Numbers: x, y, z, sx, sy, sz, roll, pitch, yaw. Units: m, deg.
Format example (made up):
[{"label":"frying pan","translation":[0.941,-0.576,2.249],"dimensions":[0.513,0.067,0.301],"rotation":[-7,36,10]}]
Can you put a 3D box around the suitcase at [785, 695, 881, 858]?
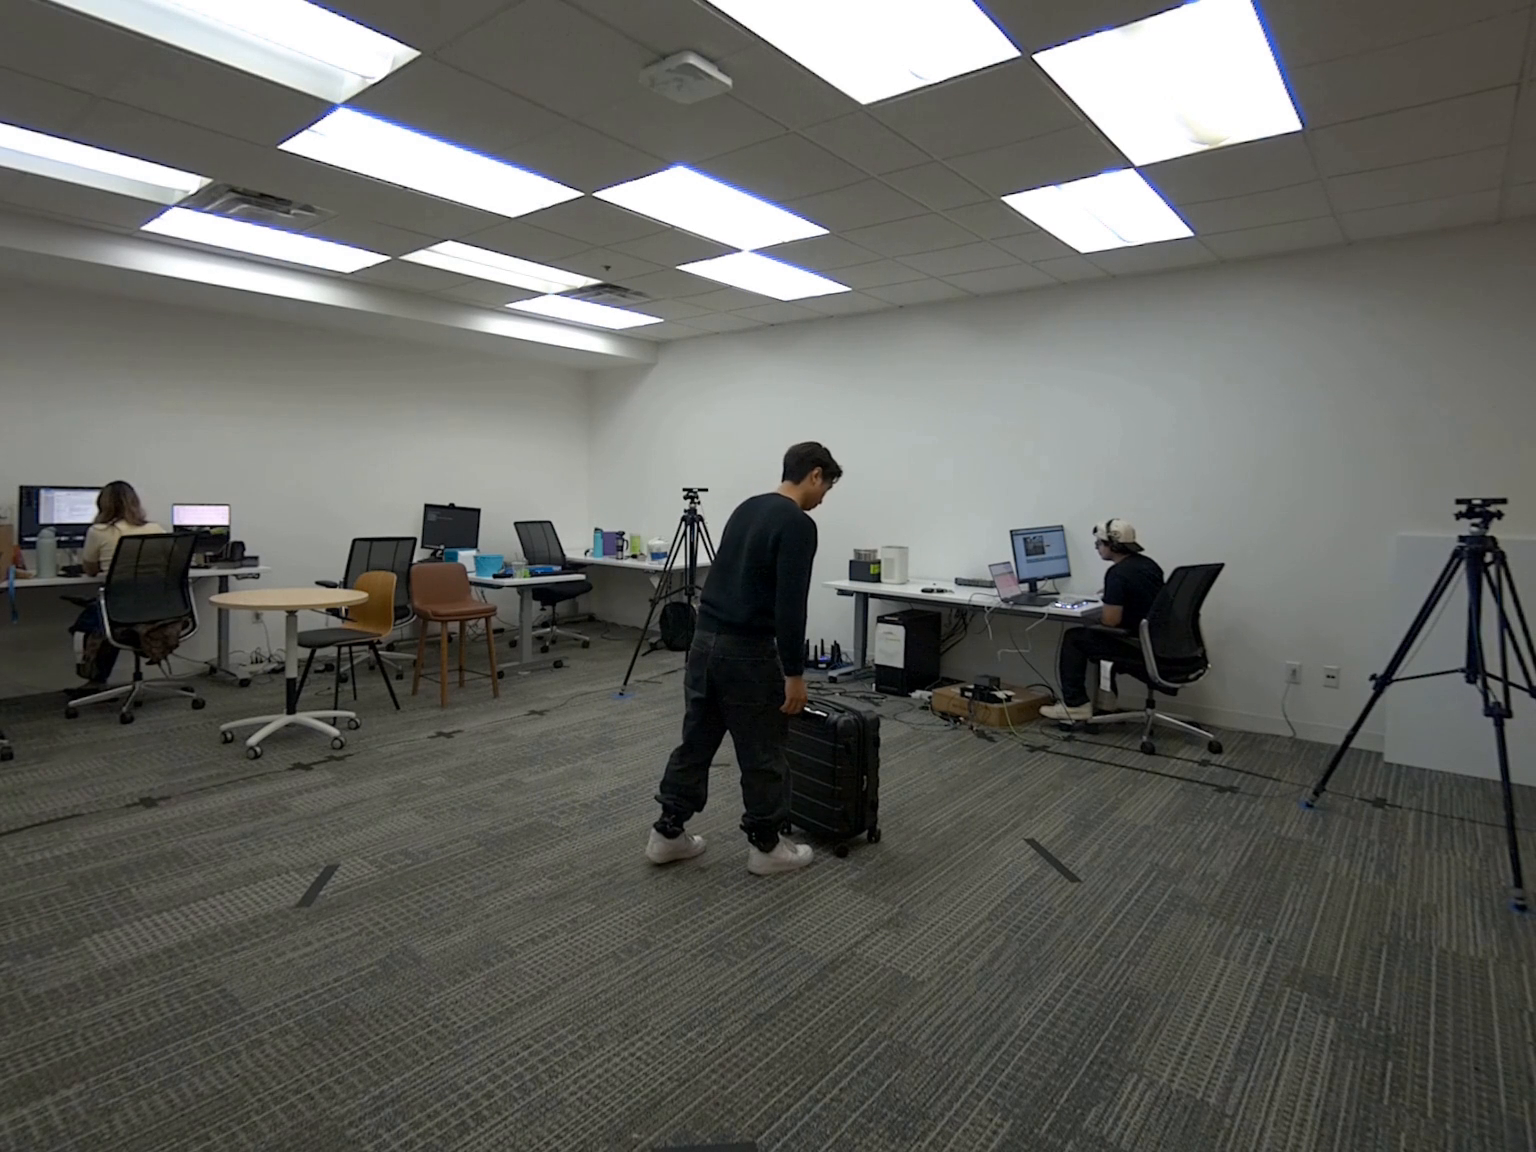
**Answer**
[{"label":"suitcase","translation":[0.241,0.771,3.421],"dimensions":[0.241,0.548,0.388],"rotation":[-1,4,-39]}]
